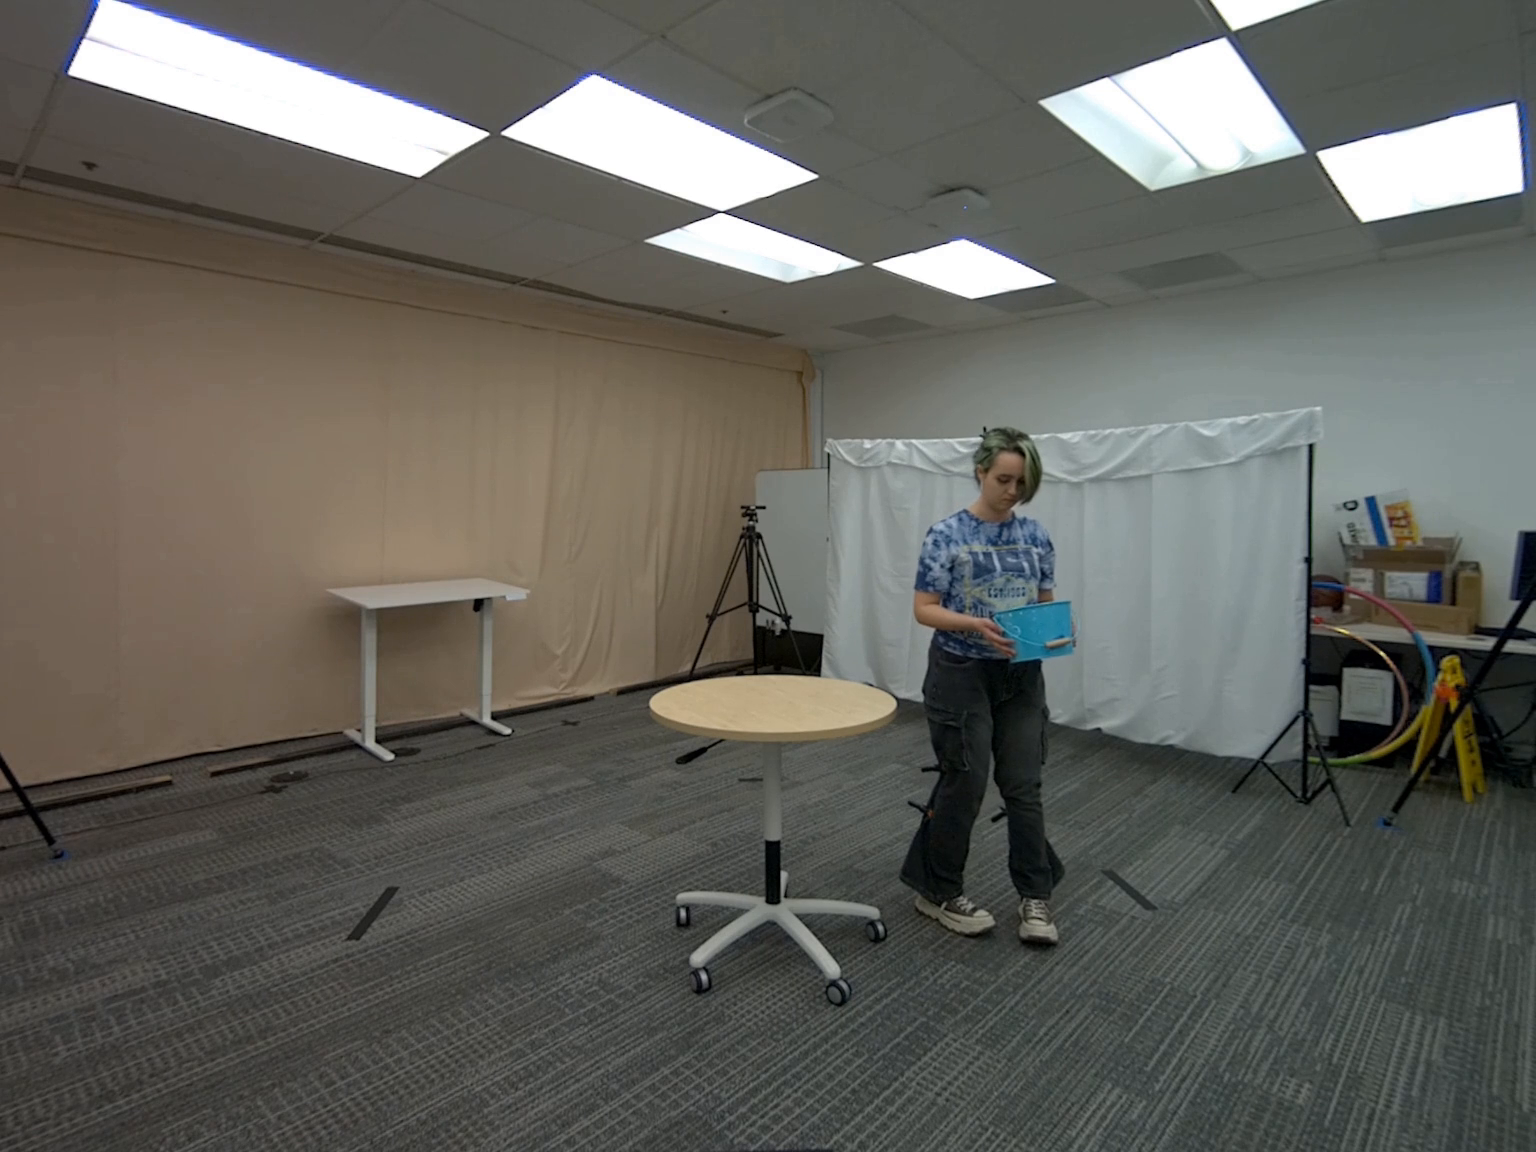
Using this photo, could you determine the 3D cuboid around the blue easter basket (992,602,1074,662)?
[{"bbox_3d":[0.826,0.175,2.506,0.243,0.157,0.242,-8,-8,-3],"label":"blue easter basket"}]
